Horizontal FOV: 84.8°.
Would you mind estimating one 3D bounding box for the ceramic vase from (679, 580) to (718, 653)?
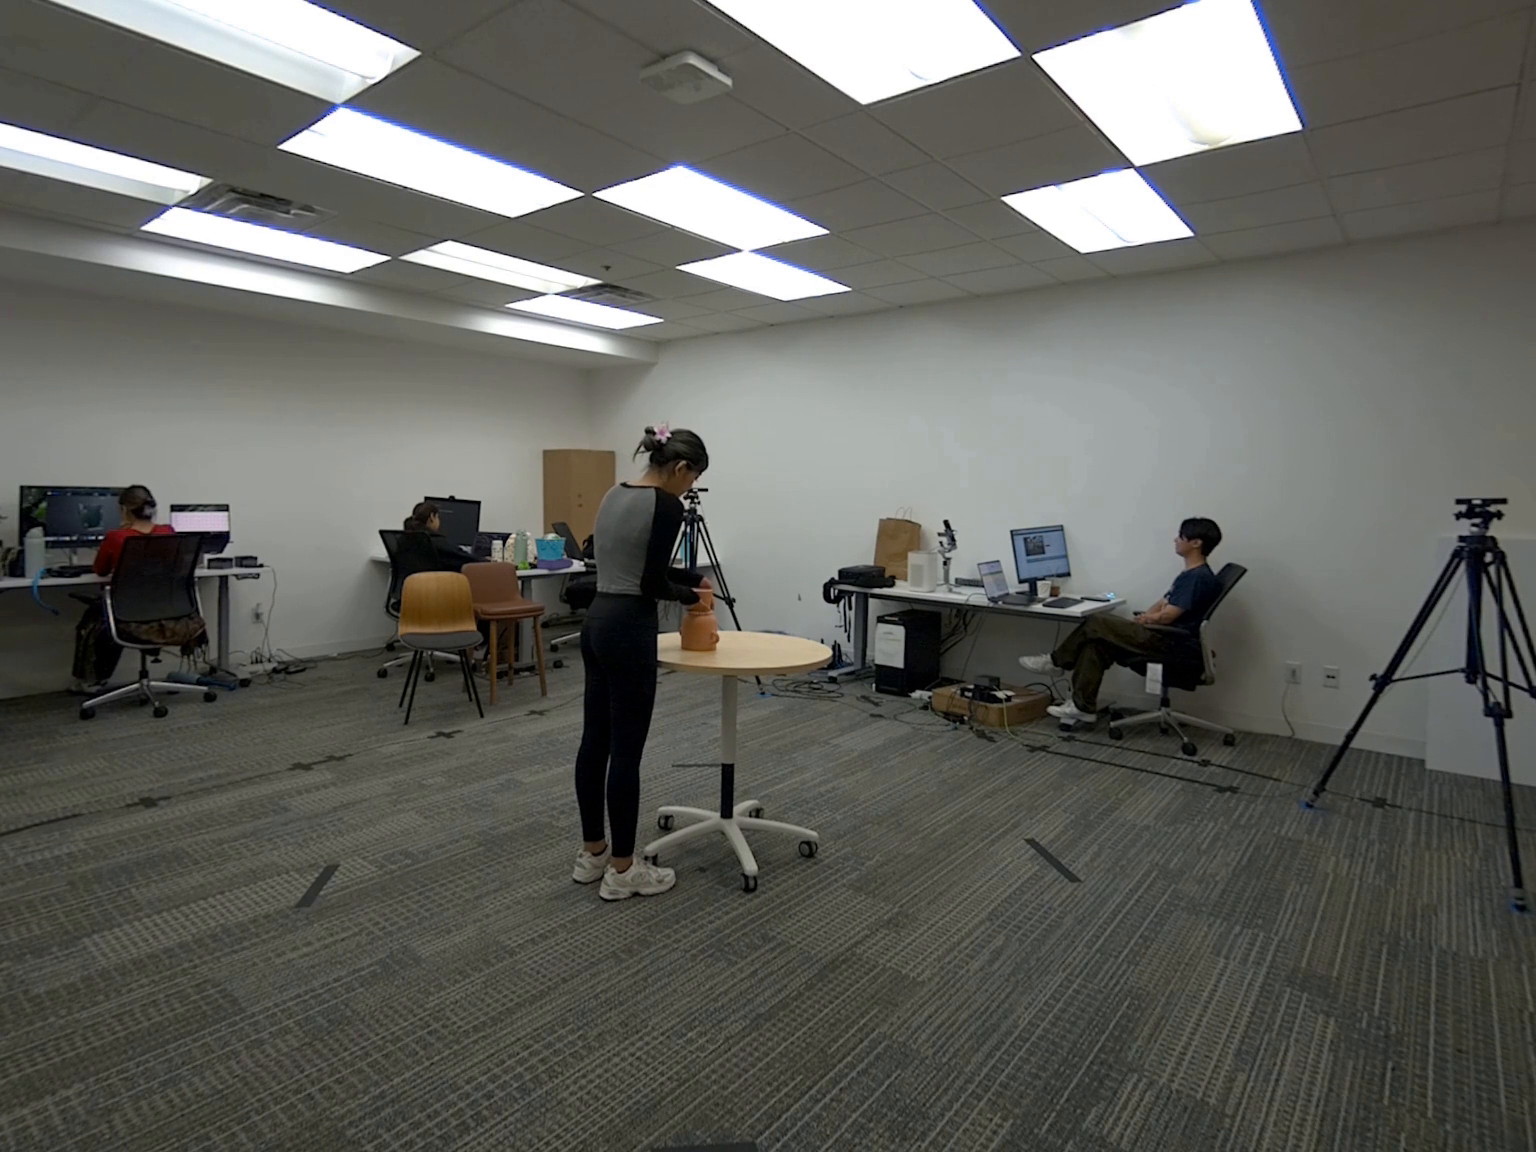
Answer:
[{"bbox_3d":[-0.270,0.158,3.176,0.159,0.219,0.135,3,3,0],"label":"ceramic vase"}]
